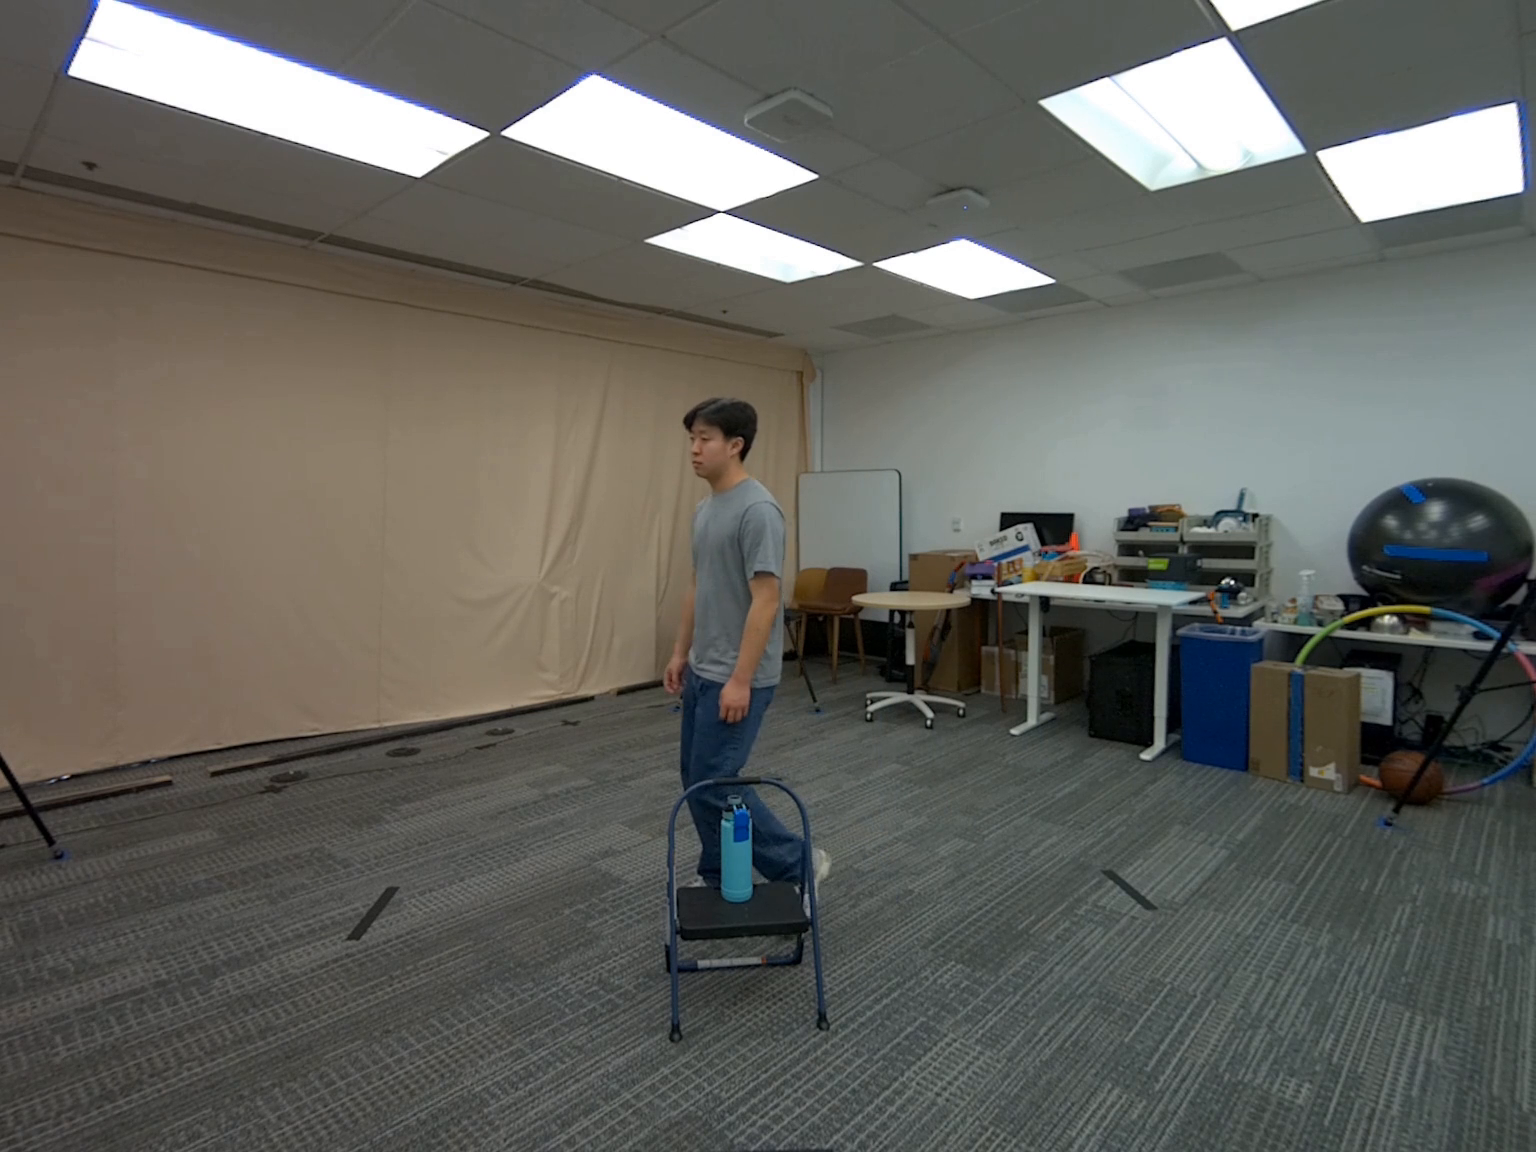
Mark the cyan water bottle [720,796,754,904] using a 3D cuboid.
[{"bbox_3d":[-0.086,0.788,2.434,0.092,0.282,0.093,2,4,-2],"label":"cyan water bottle"}]
